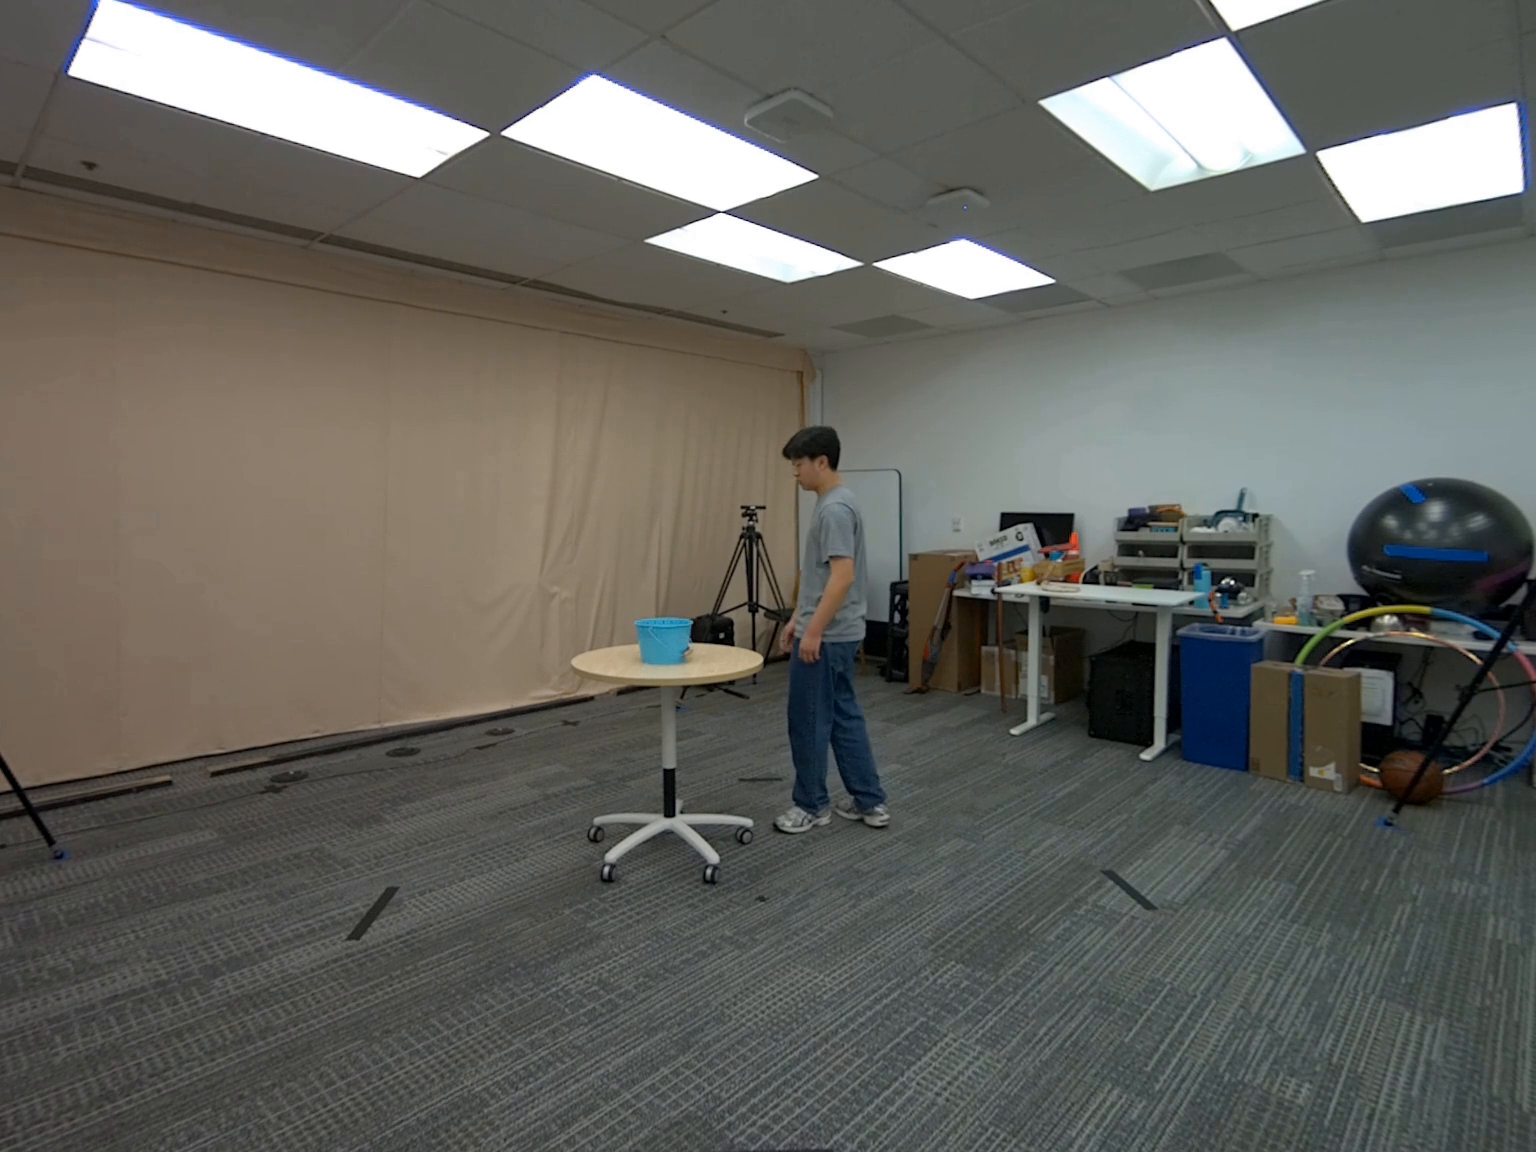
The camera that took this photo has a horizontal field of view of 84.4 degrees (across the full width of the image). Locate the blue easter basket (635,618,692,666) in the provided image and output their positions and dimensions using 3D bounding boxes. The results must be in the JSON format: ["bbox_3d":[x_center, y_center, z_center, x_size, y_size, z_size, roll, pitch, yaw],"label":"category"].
[{"bbox_3d":[-0.413,0.261,3.331,0.243,0.155,0.244,-1,4,-2],"label":"blue easter basket"}]
